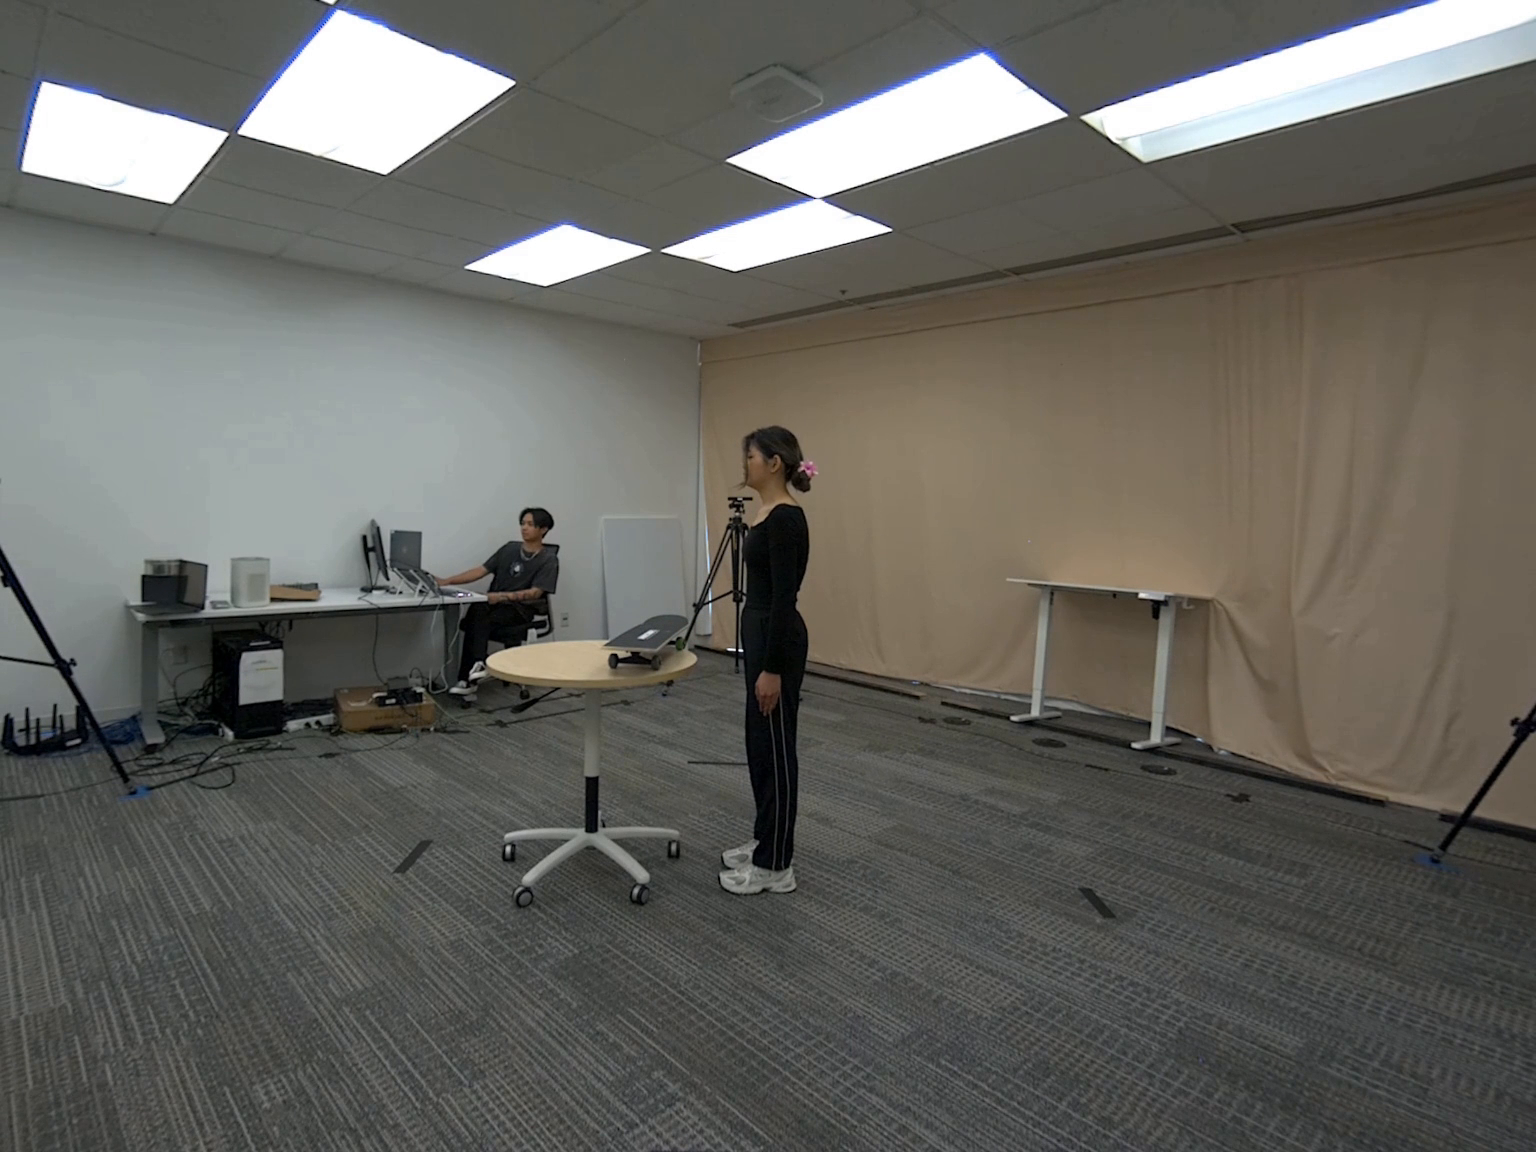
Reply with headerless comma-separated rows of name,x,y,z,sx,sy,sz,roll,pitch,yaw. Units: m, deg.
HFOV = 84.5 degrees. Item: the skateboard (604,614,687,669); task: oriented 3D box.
skateboard,-0.439,0.253,3.127,0.195,0.110,0.782,1,5,6
